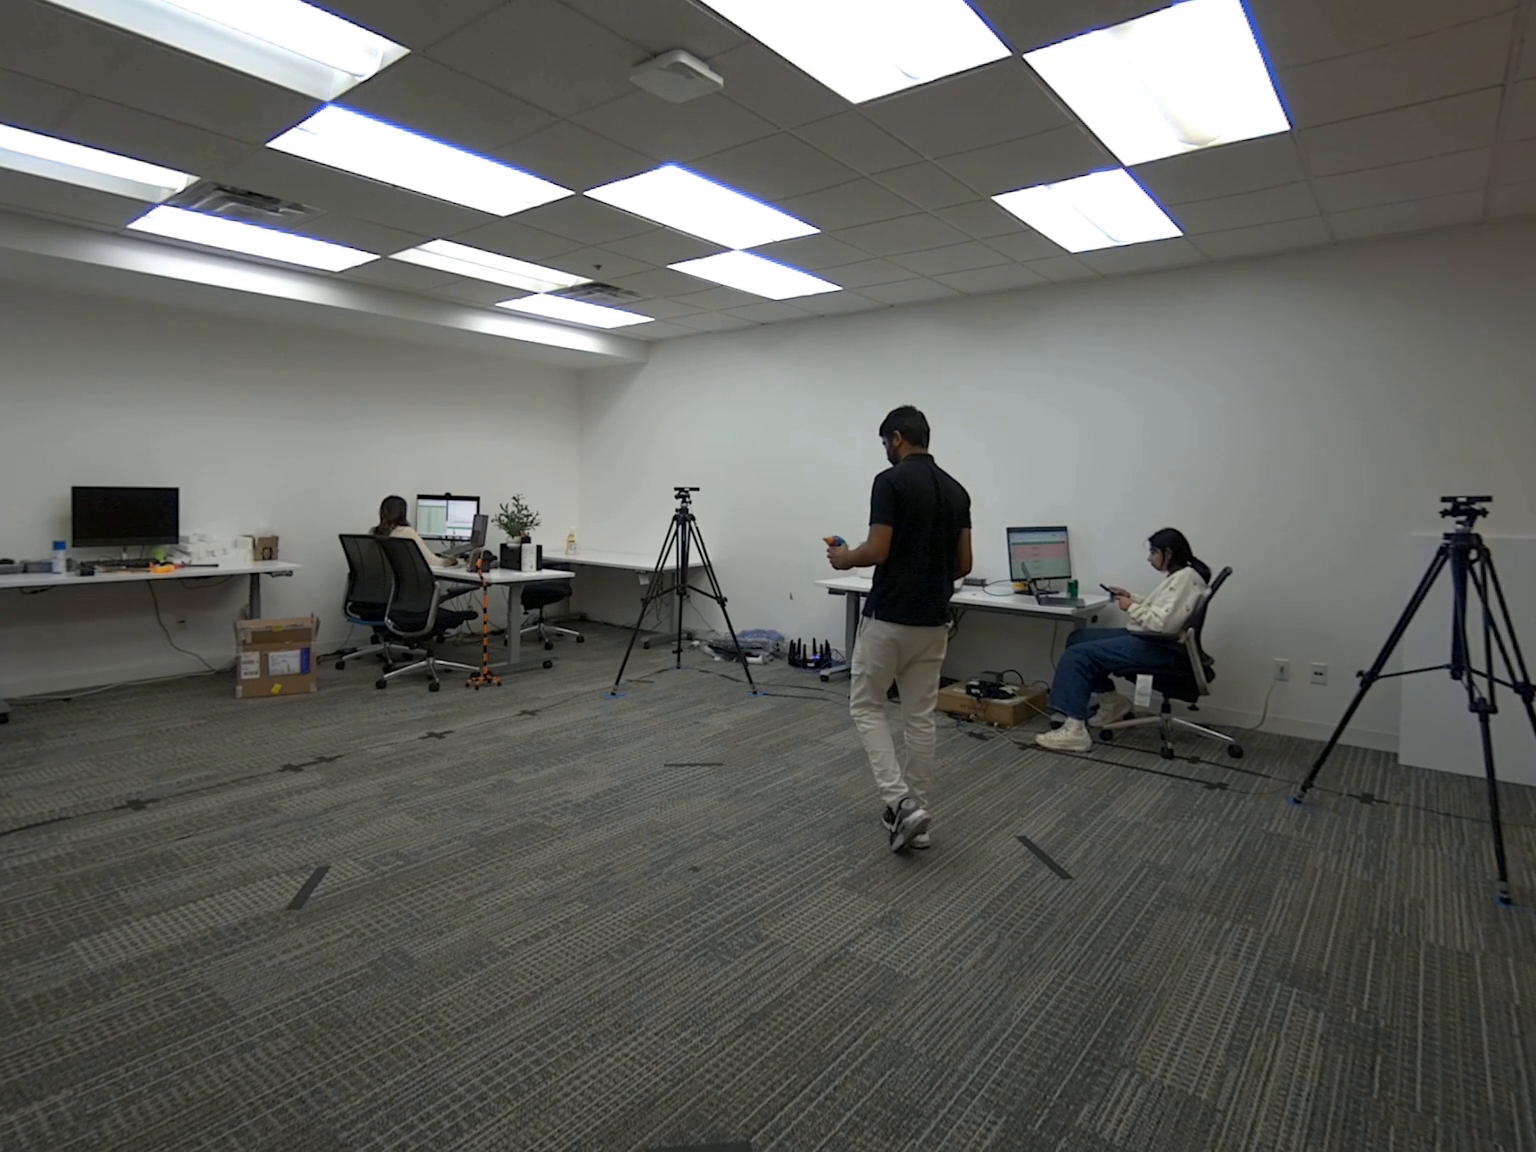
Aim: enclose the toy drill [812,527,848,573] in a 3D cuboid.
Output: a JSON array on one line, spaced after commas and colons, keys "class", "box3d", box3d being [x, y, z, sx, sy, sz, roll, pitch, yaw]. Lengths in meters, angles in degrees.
[{"class": "toy drill", "box3d": [0.273, -0.109, 3.543, 0.062, 0.150, 0.163, -26, -26, 29]}]
